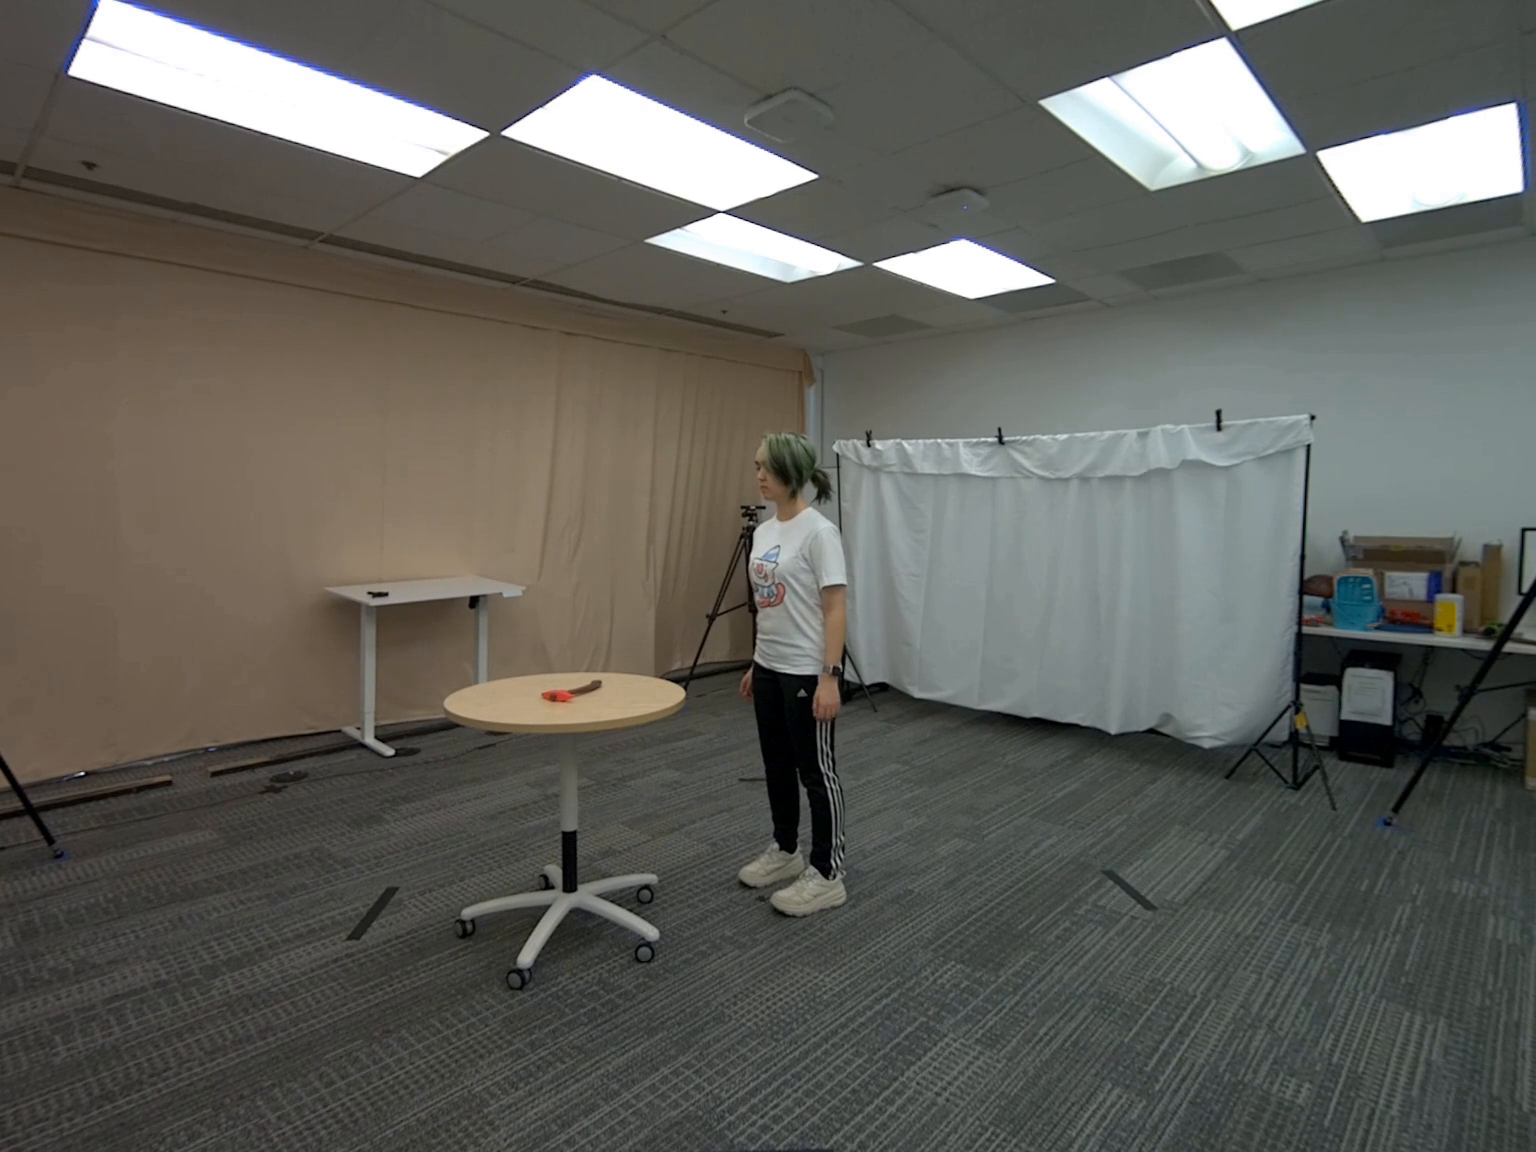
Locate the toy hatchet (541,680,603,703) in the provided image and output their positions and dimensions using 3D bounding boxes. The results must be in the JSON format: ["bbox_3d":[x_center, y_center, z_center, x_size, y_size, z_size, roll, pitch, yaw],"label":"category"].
[{"bbox_3d":[-0.643,0.372,2.745,0.132,0.029,0.267,-4,2,8],"label":"toy hatchet"}]
